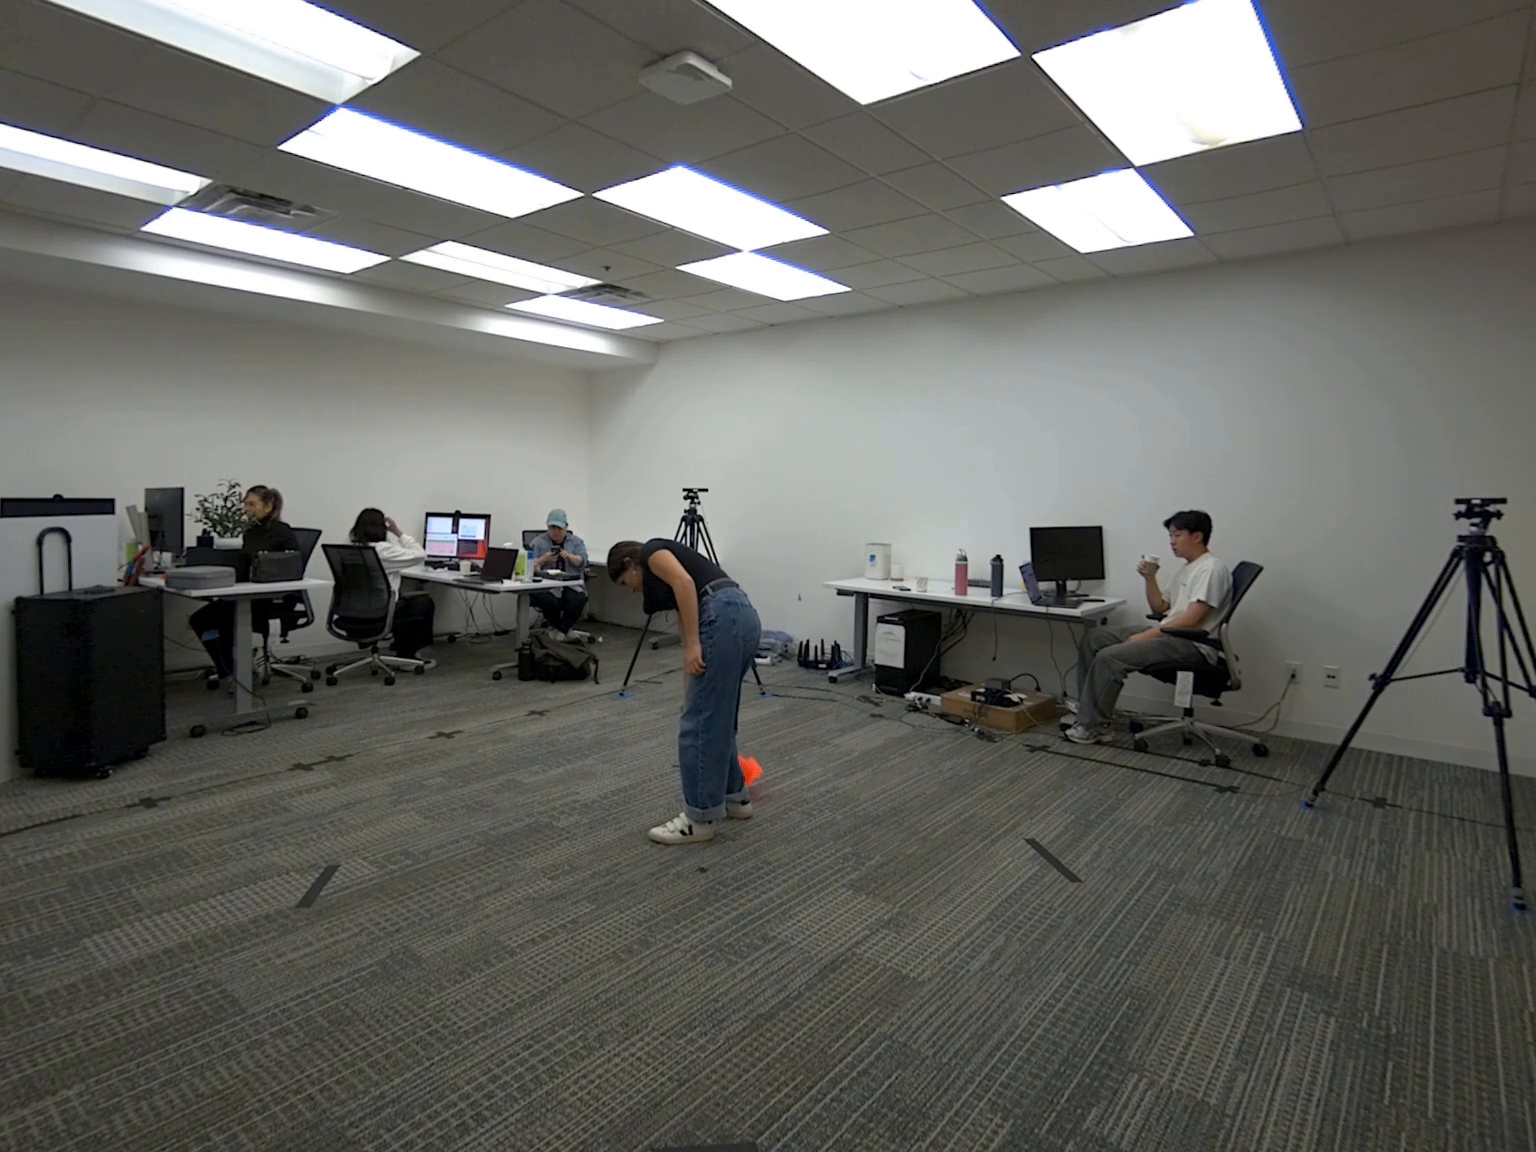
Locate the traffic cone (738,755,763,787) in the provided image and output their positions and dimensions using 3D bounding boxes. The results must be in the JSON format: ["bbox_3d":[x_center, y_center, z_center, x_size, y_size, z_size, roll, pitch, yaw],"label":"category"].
[{"bbox_3d":[-0.233,0.783,3.869,0.205,0.376,0.207,-43,14,-9],"label":"traffic cone"}]
